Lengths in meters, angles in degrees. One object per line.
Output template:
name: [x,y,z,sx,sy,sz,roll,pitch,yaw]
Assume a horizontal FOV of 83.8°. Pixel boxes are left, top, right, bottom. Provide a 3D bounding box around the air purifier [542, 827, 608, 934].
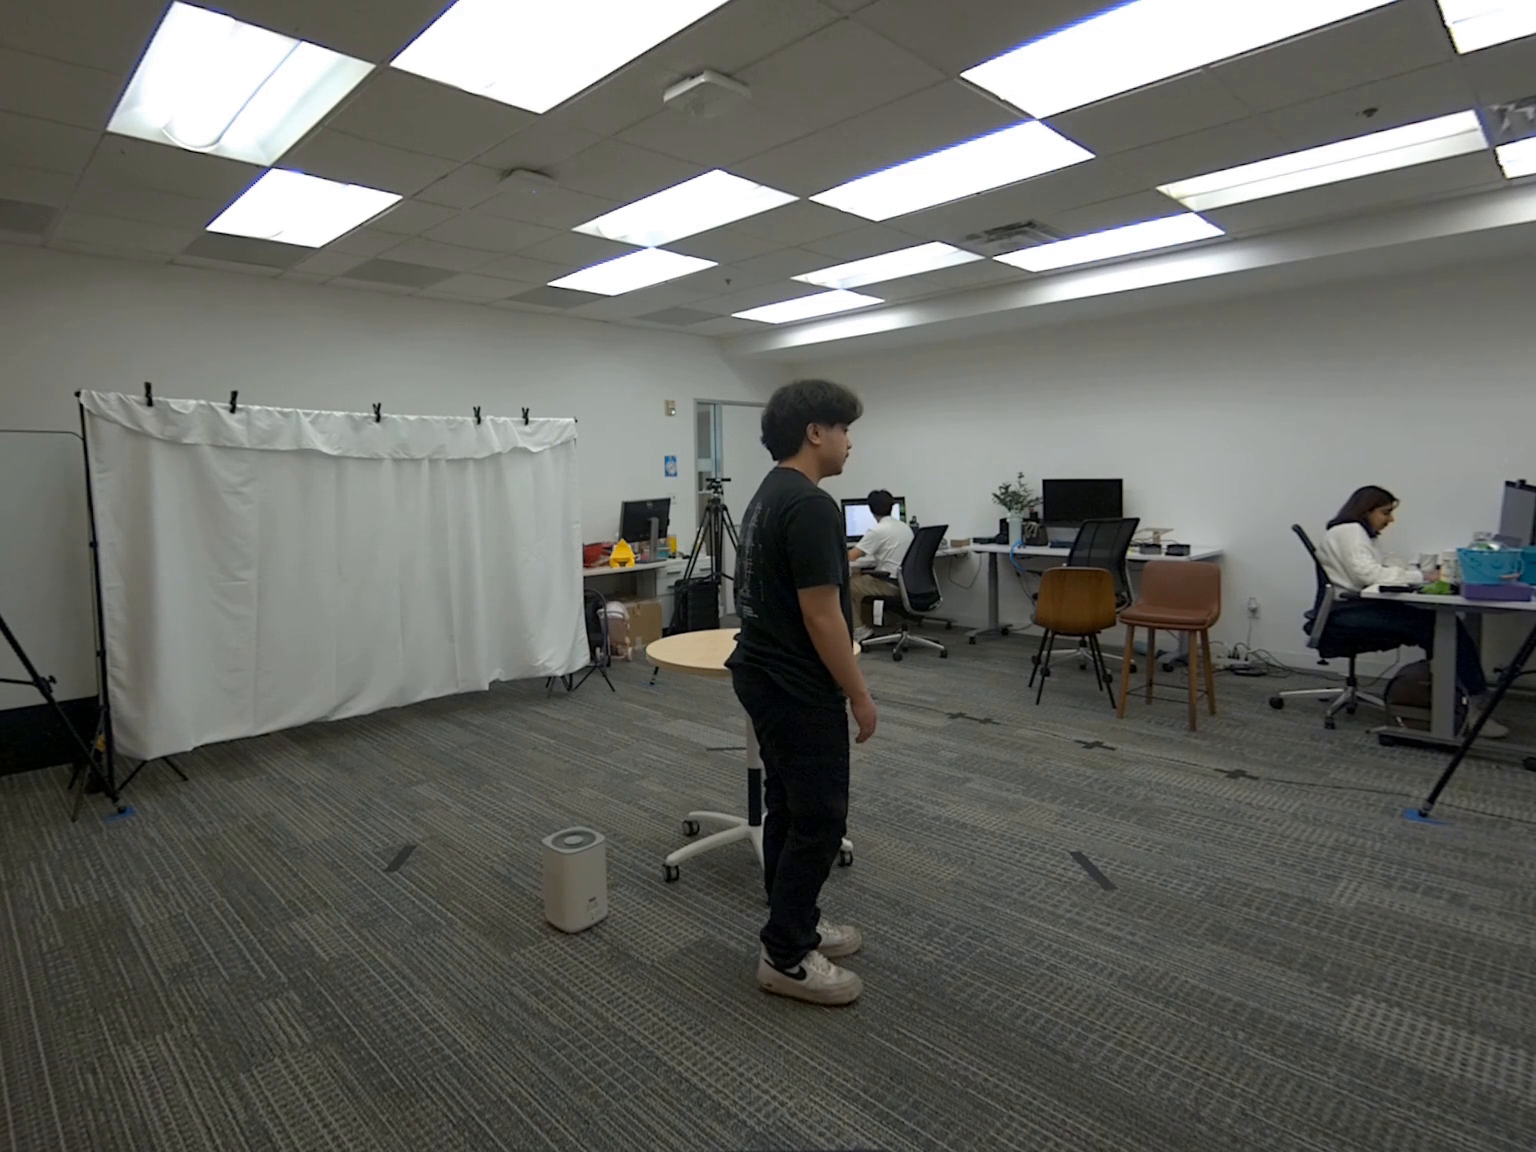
air purifier: [-0.609,0.957,2.710,0.177,0.264,0.166,2,6,42]
